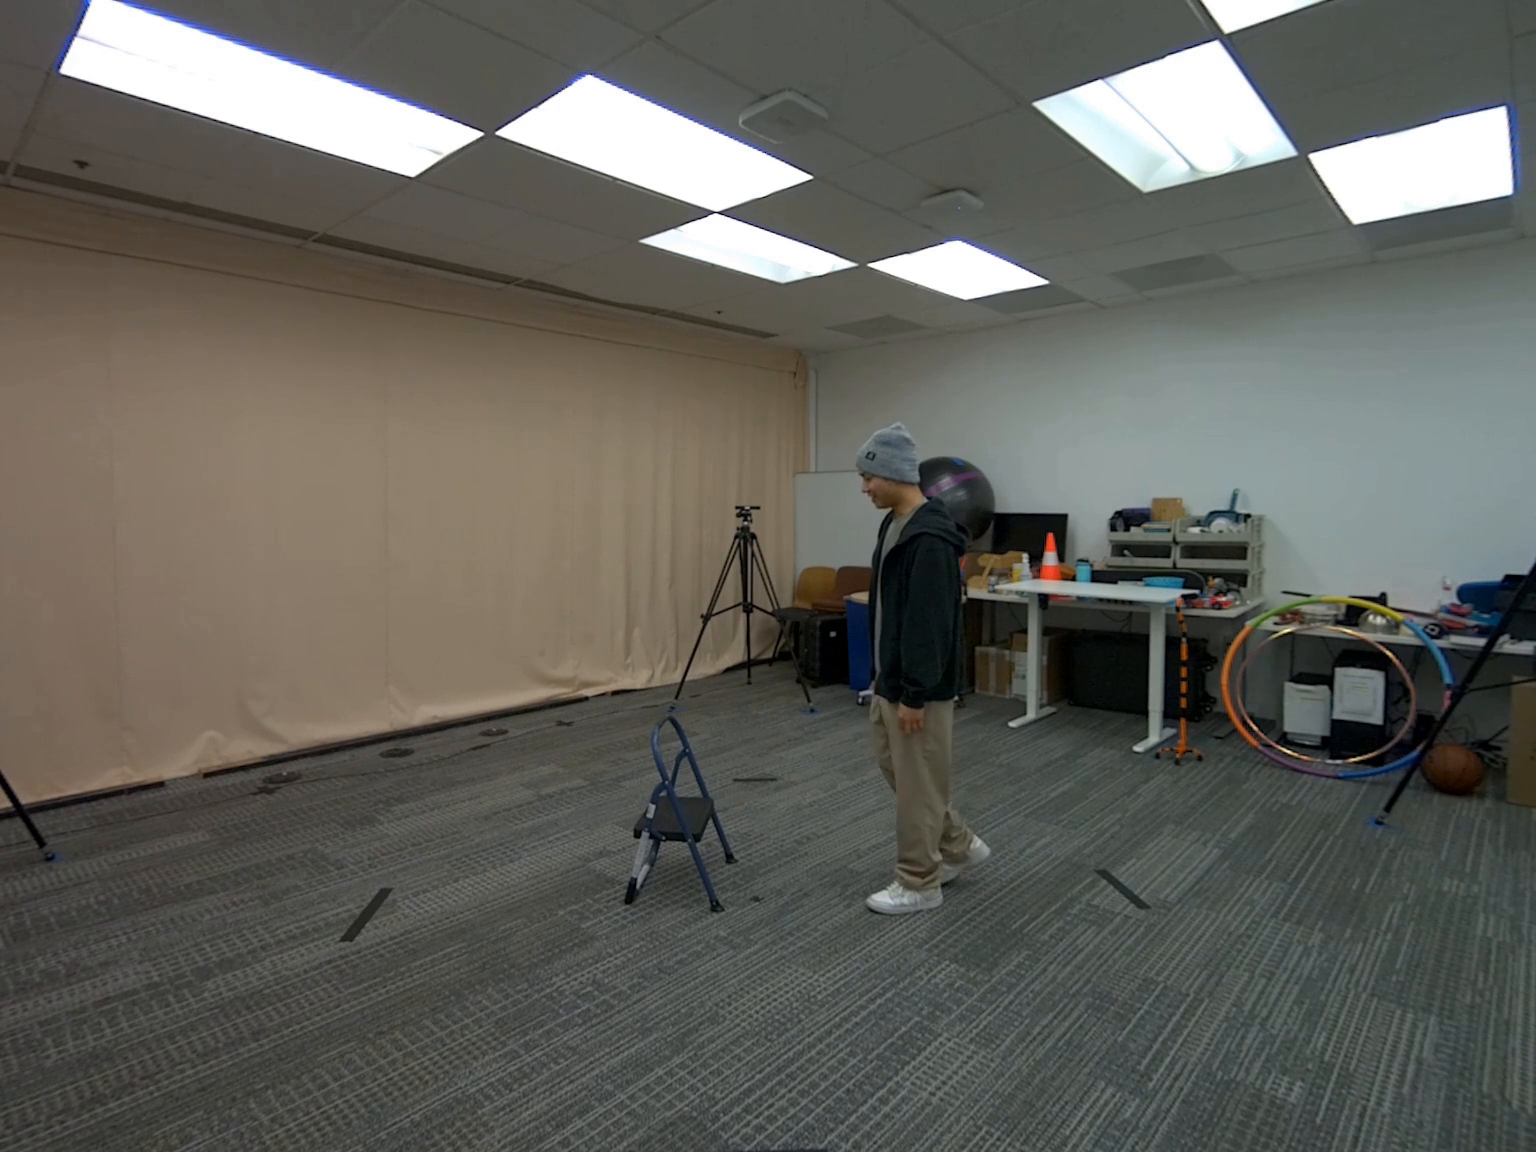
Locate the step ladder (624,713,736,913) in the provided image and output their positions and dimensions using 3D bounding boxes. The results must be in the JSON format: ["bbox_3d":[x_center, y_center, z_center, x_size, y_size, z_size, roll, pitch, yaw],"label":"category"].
[{"bbox_3d":[-0.318,0.837,3.112,0.352,0.604,0.428,0,4,6],"label":"step ladder"}]
